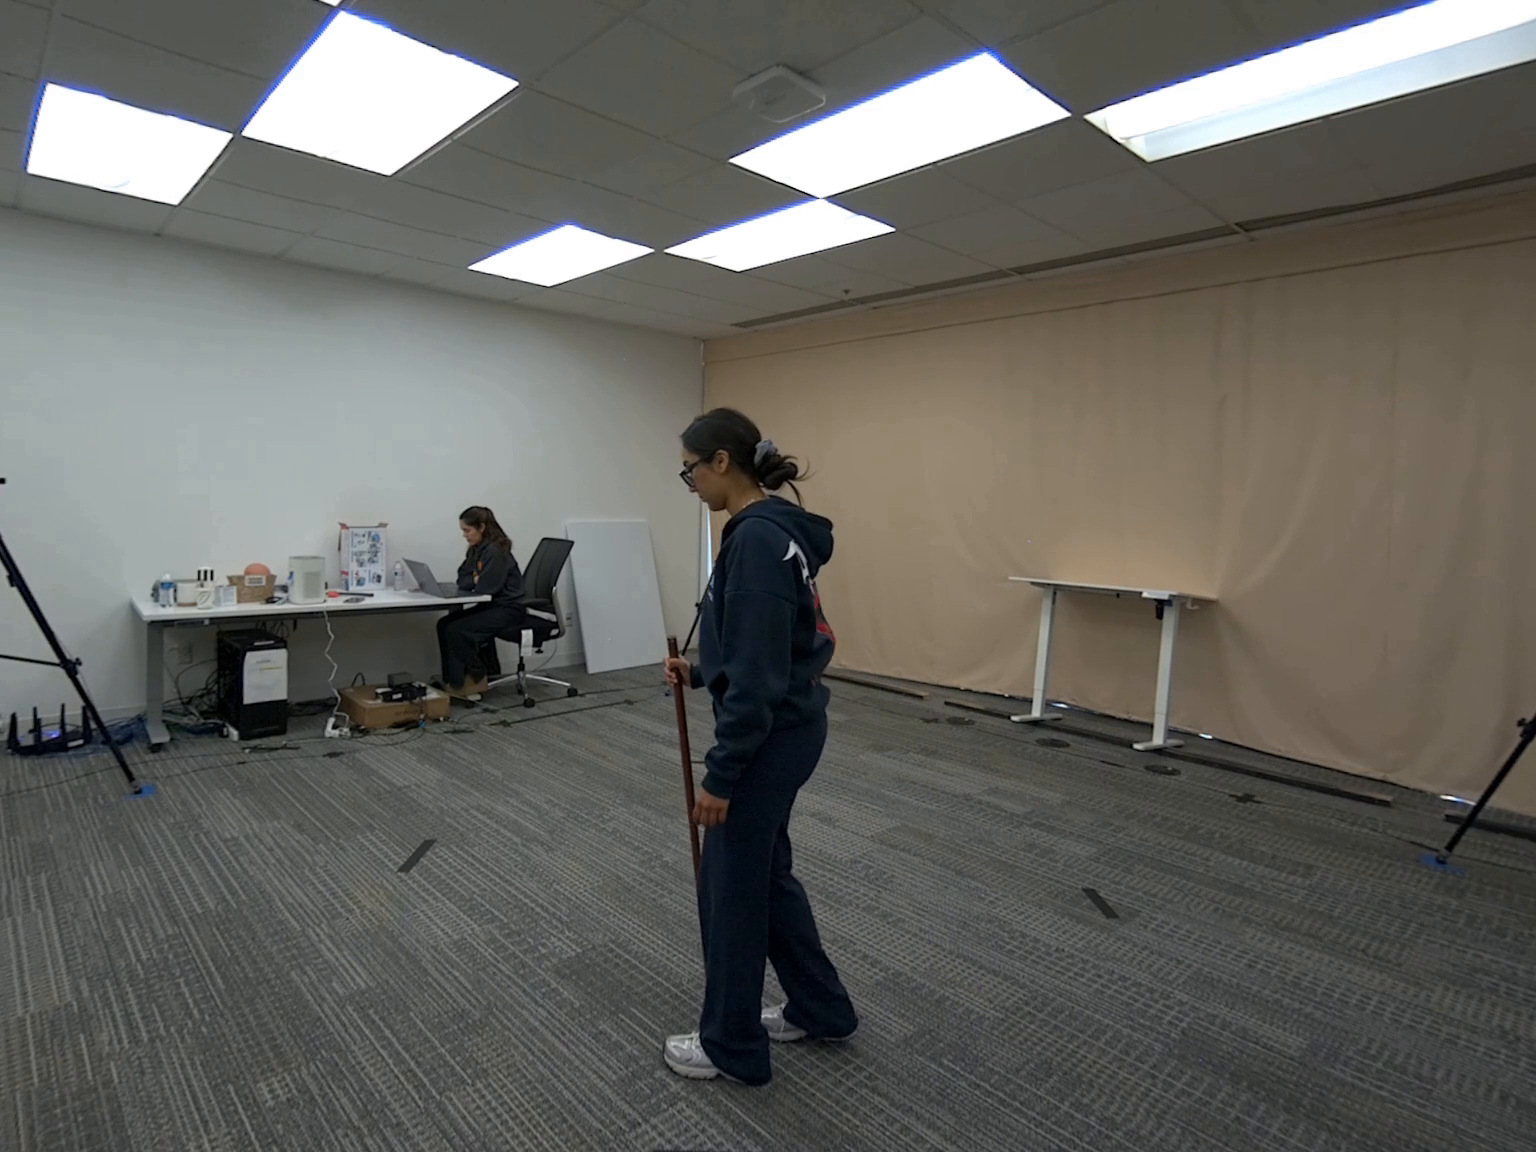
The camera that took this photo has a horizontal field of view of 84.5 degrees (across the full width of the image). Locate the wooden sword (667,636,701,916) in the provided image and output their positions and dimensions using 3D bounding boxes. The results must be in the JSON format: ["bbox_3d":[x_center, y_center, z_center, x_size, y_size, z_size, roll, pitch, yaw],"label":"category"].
[{"bbox_3d":[-0.197,0.687,2.350,0.023,1.018,0.052,-11,11,-38],"label":"wooden sword"}]
